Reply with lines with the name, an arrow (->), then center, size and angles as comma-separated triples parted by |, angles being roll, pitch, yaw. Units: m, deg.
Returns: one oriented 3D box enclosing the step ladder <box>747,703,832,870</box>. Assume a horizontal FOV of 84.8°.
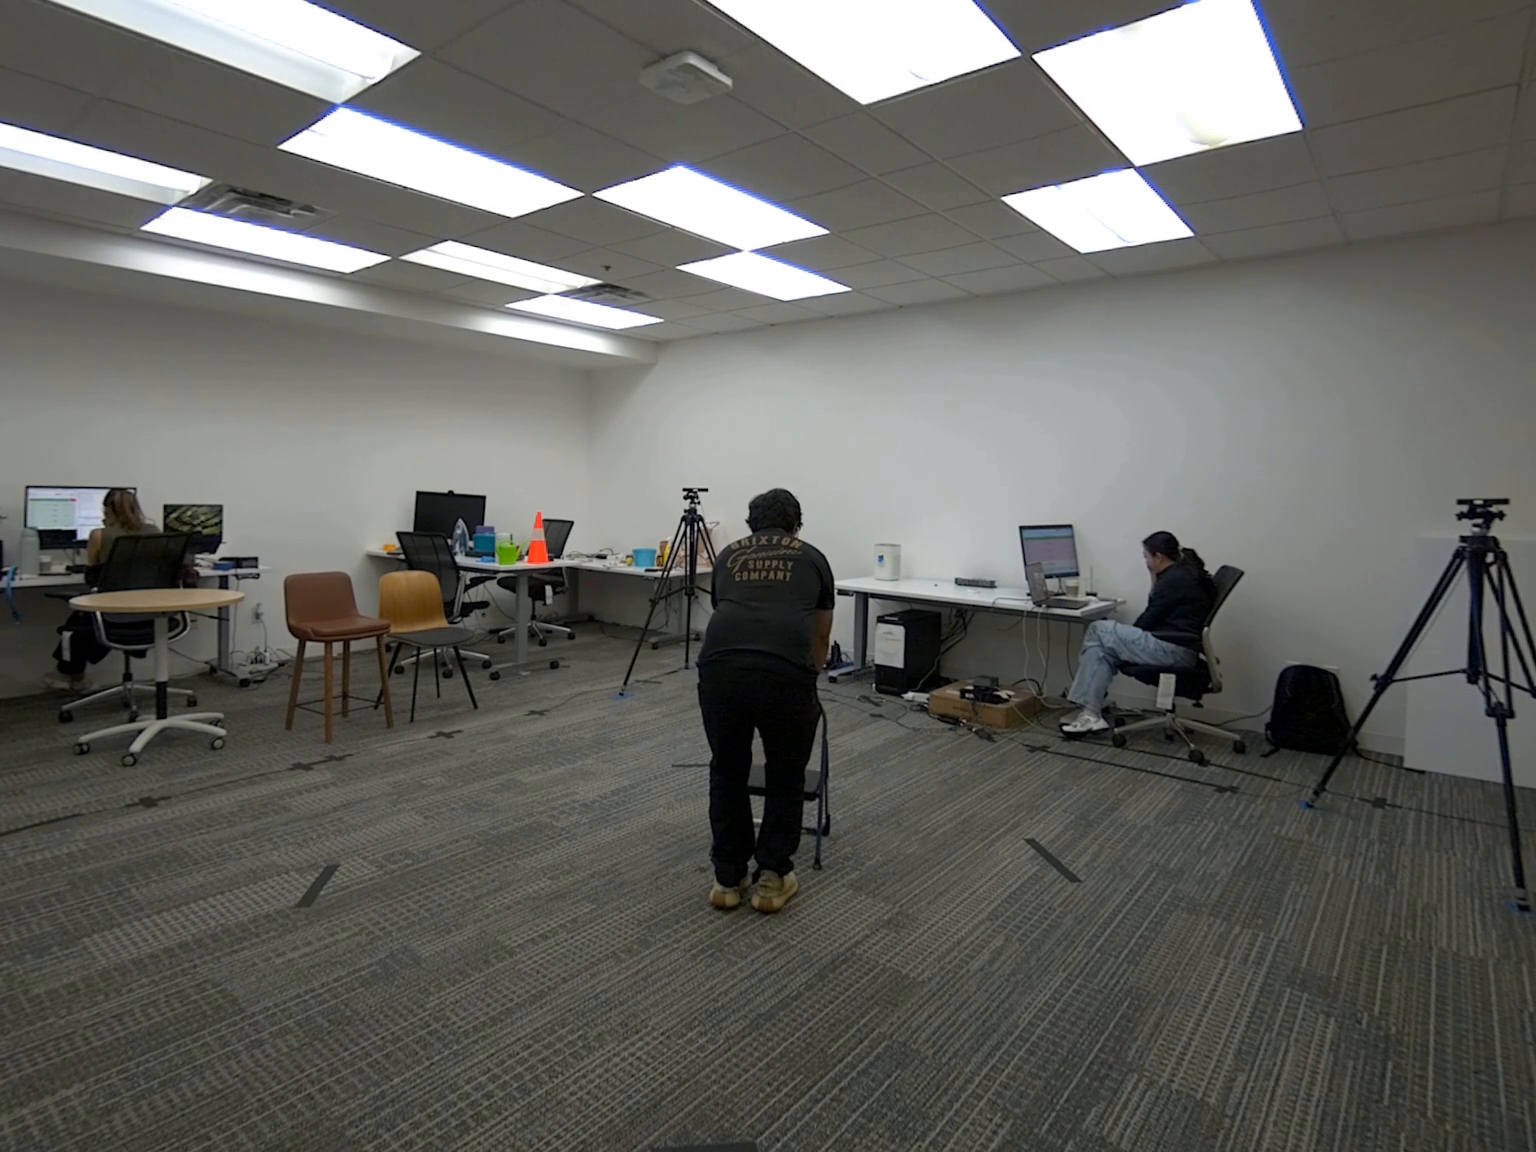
step ladder -> 0.020, 0.748, 3.322 | 0.437, 0.604, 0.345 | 2, 5, 13
